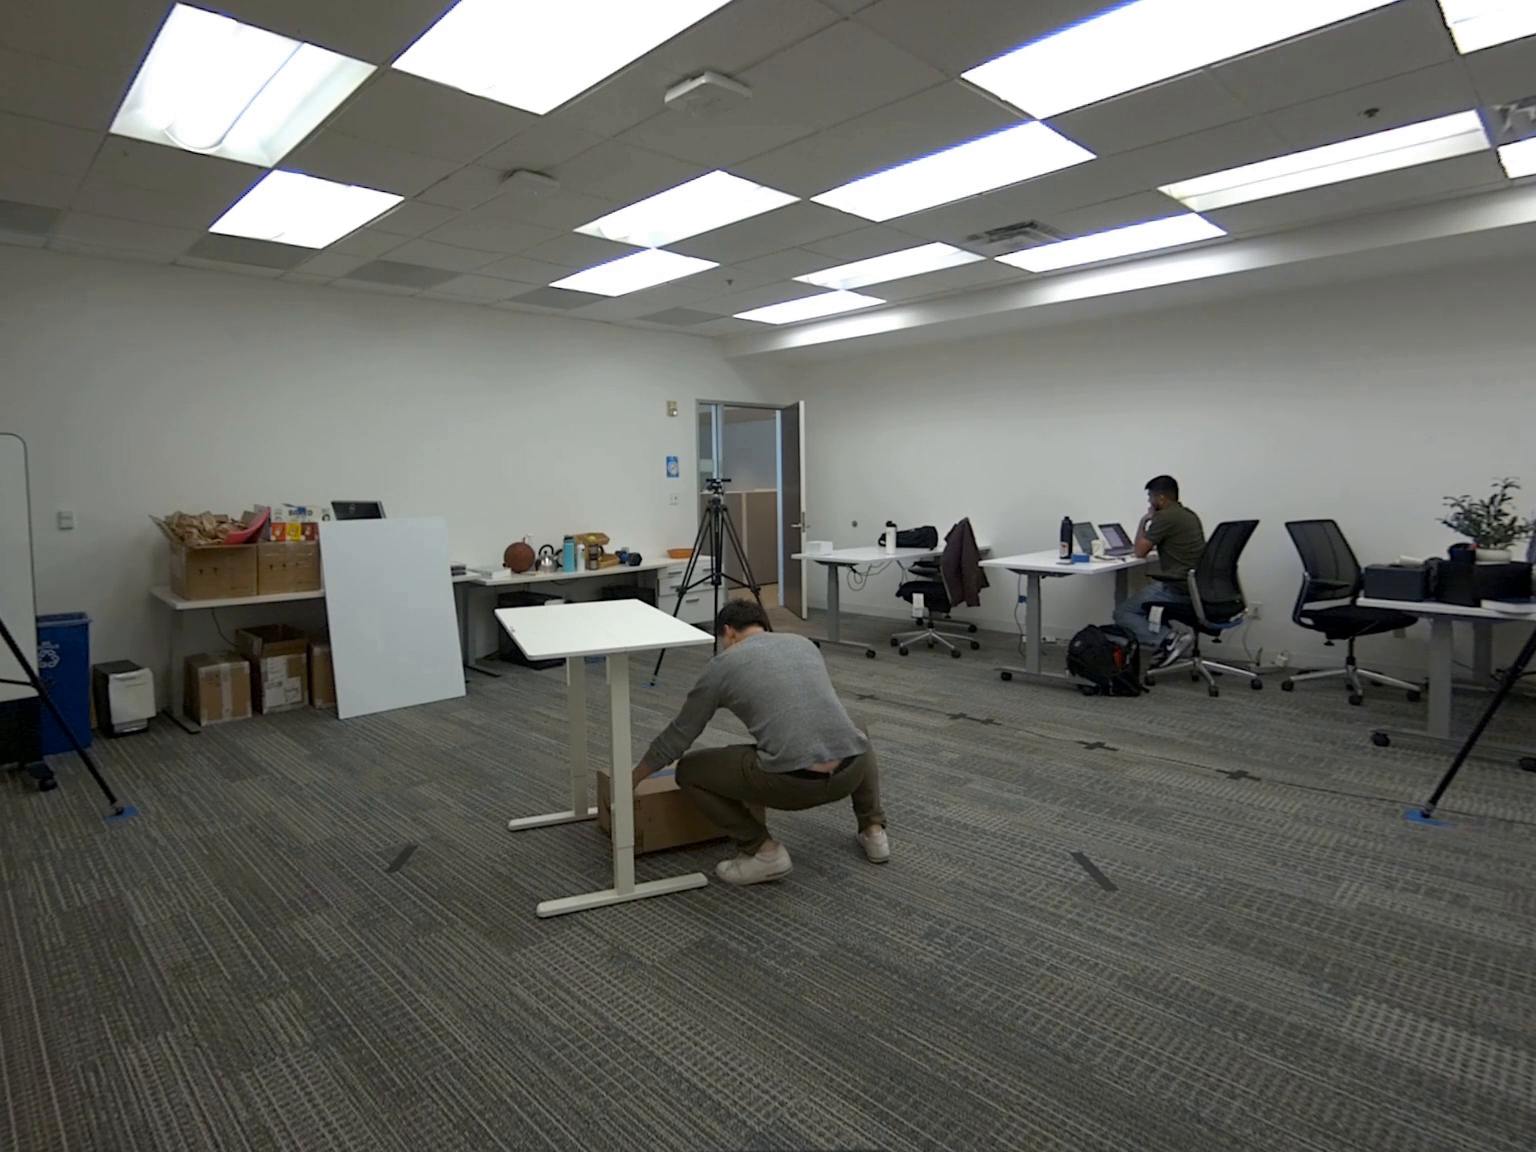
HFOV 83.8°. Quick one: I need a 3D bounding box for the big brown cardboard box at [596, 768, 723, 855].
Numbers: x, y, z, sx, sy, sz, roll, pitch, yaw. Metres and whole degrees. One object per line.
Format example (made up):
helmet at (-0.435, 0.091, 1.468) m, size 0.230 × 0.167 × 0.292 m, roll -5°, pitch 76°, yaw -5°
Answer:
big brown cardboard box at (-0.343, 0.884, 3.426) m, size 0.576 × 0.233 × 0.428 m, roll -4°, pitch 4°, yaw -27°
